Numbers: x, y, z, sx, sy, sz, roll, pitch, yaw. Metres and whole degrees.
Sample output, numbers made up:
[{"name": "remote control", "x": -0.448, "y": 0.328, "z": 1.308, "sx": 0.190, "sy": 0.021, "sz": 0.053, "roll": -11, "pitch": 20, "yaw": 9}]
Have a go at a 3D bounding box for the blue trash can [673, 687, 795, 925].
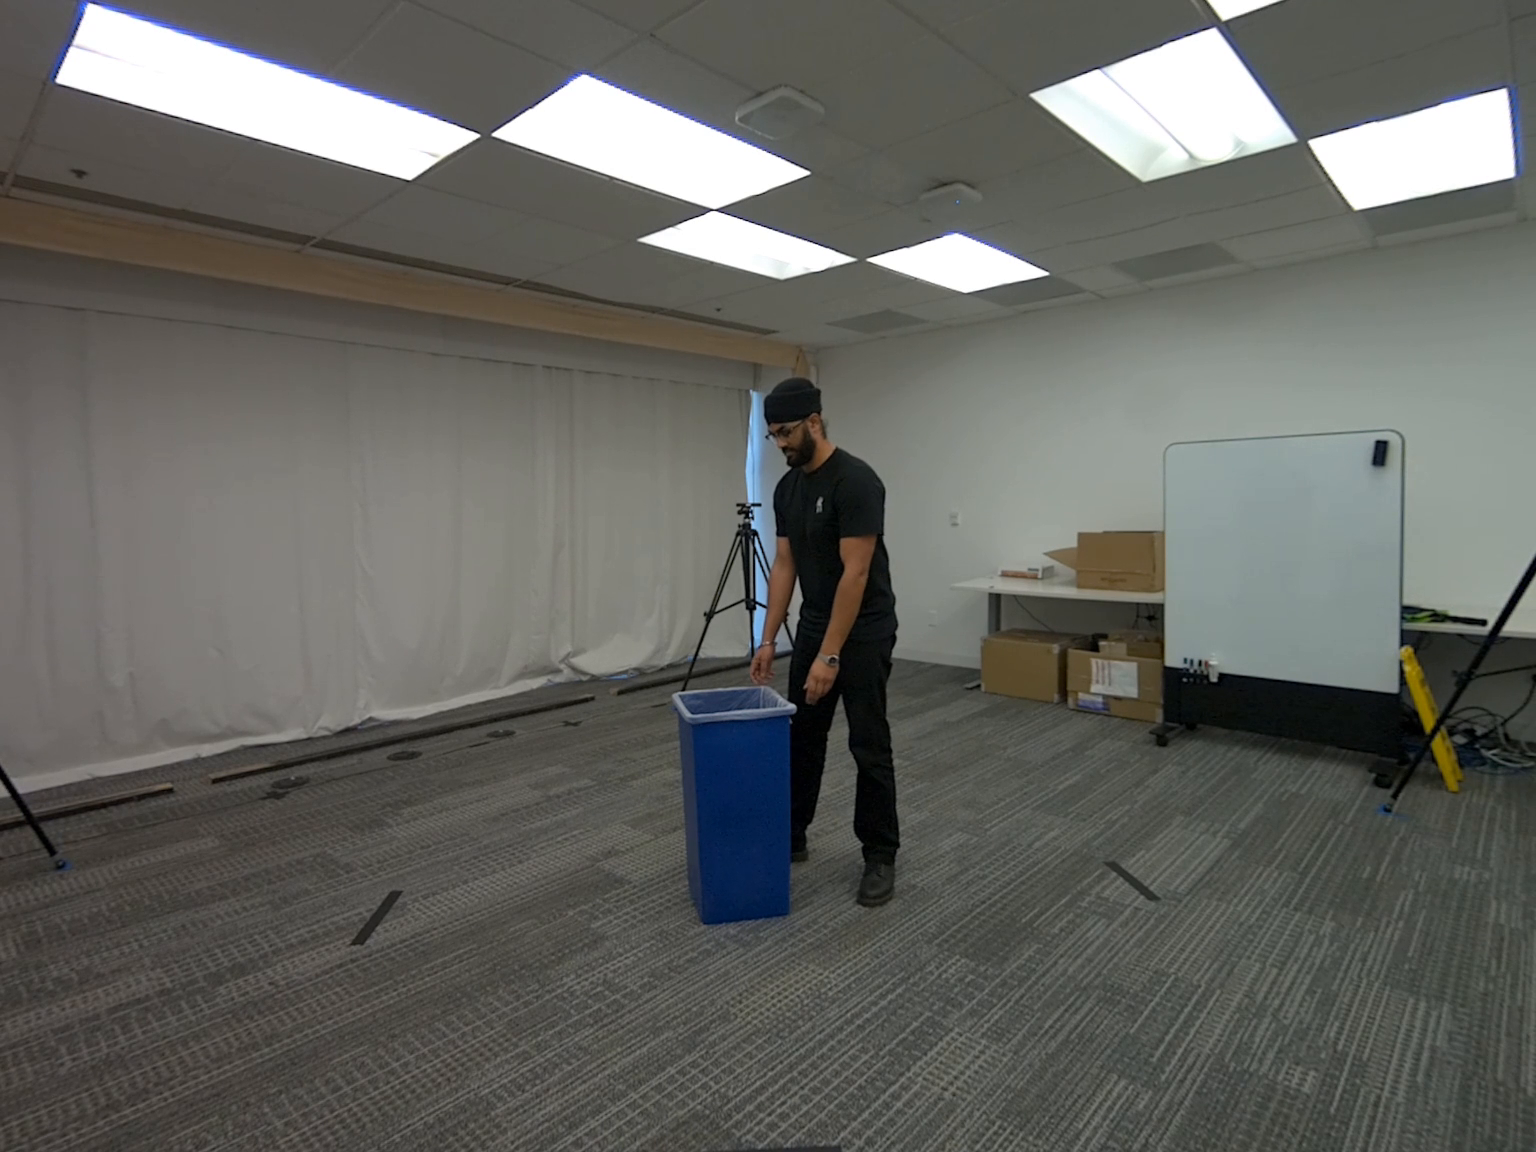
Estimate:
[{"name": "blue trash can", "x": -0.110, "y": 0.781, "z": 2.949, "sx": 0.369, "sy": 0.712, "sz": 0.384, "roll": -3, "pitch": 4, "yaw": -13}]
